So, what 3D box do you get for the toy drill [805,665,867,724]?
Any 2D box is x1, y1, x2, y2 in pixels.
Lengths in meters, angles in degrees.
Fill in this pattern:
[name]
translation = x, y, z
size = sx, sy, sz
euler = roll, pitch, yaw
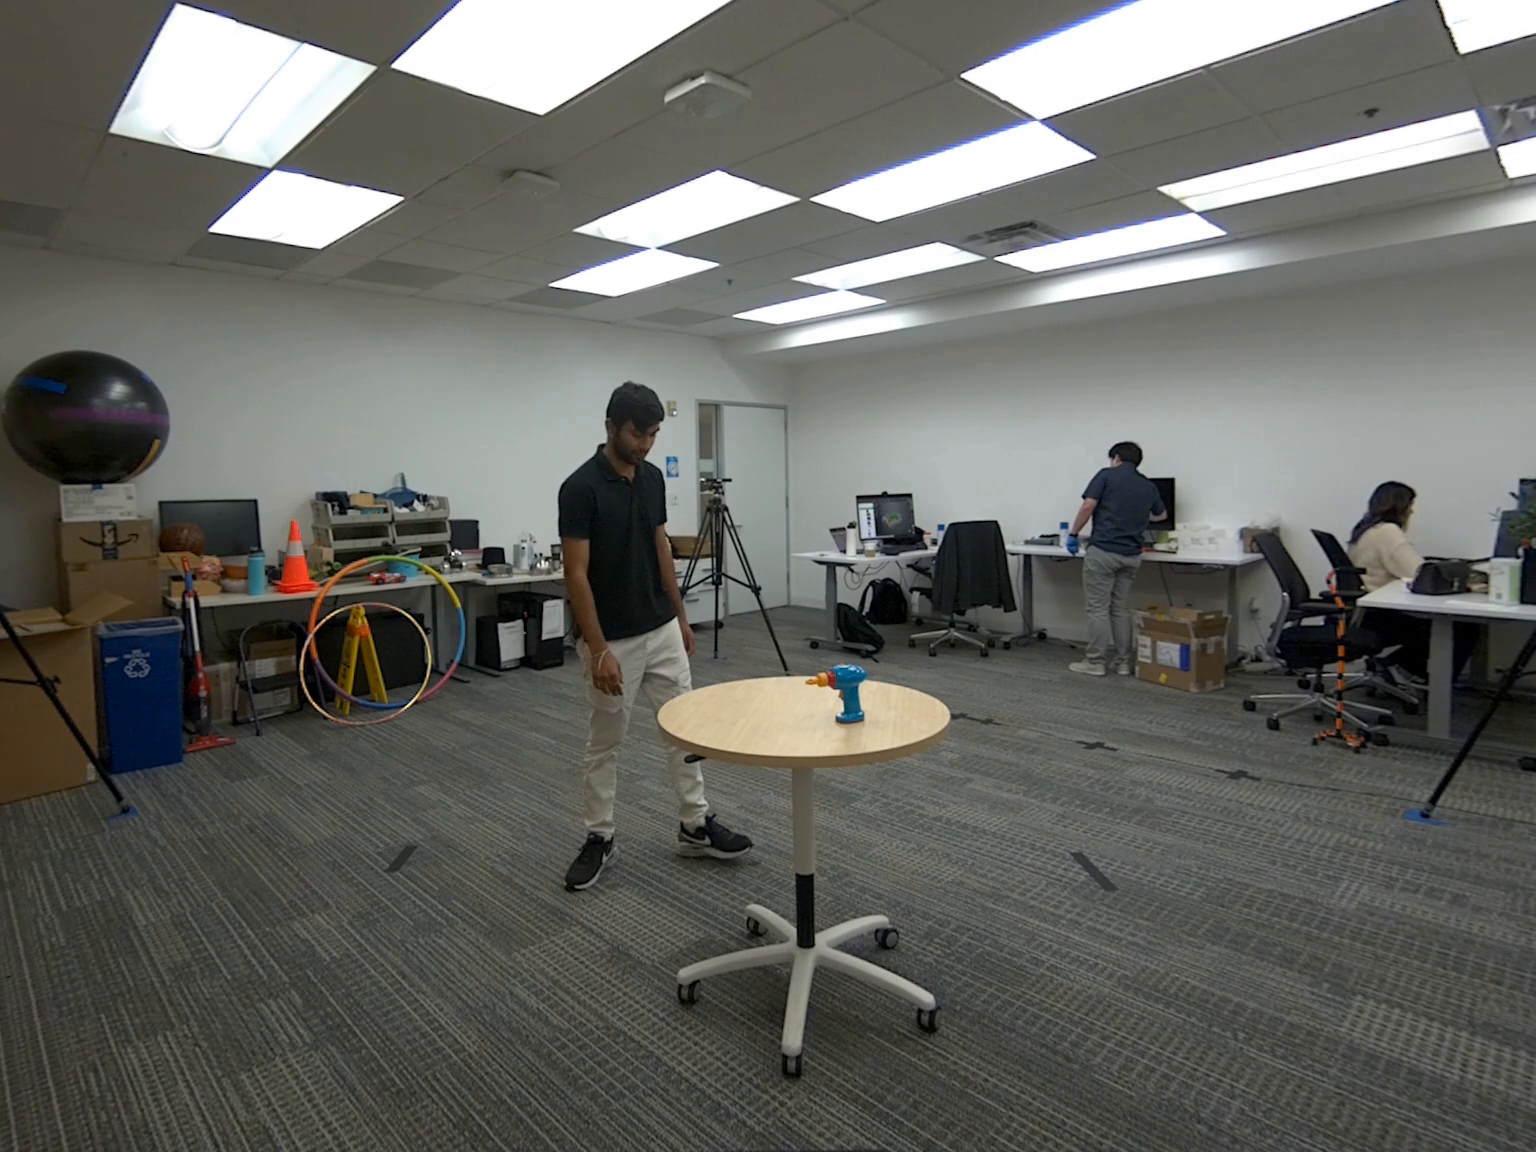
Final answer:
[toy drill]
translation = 0.175, 0.297, 2.131
size = 0.167, 0.145, 0.062
euler = -5, 8, -20
